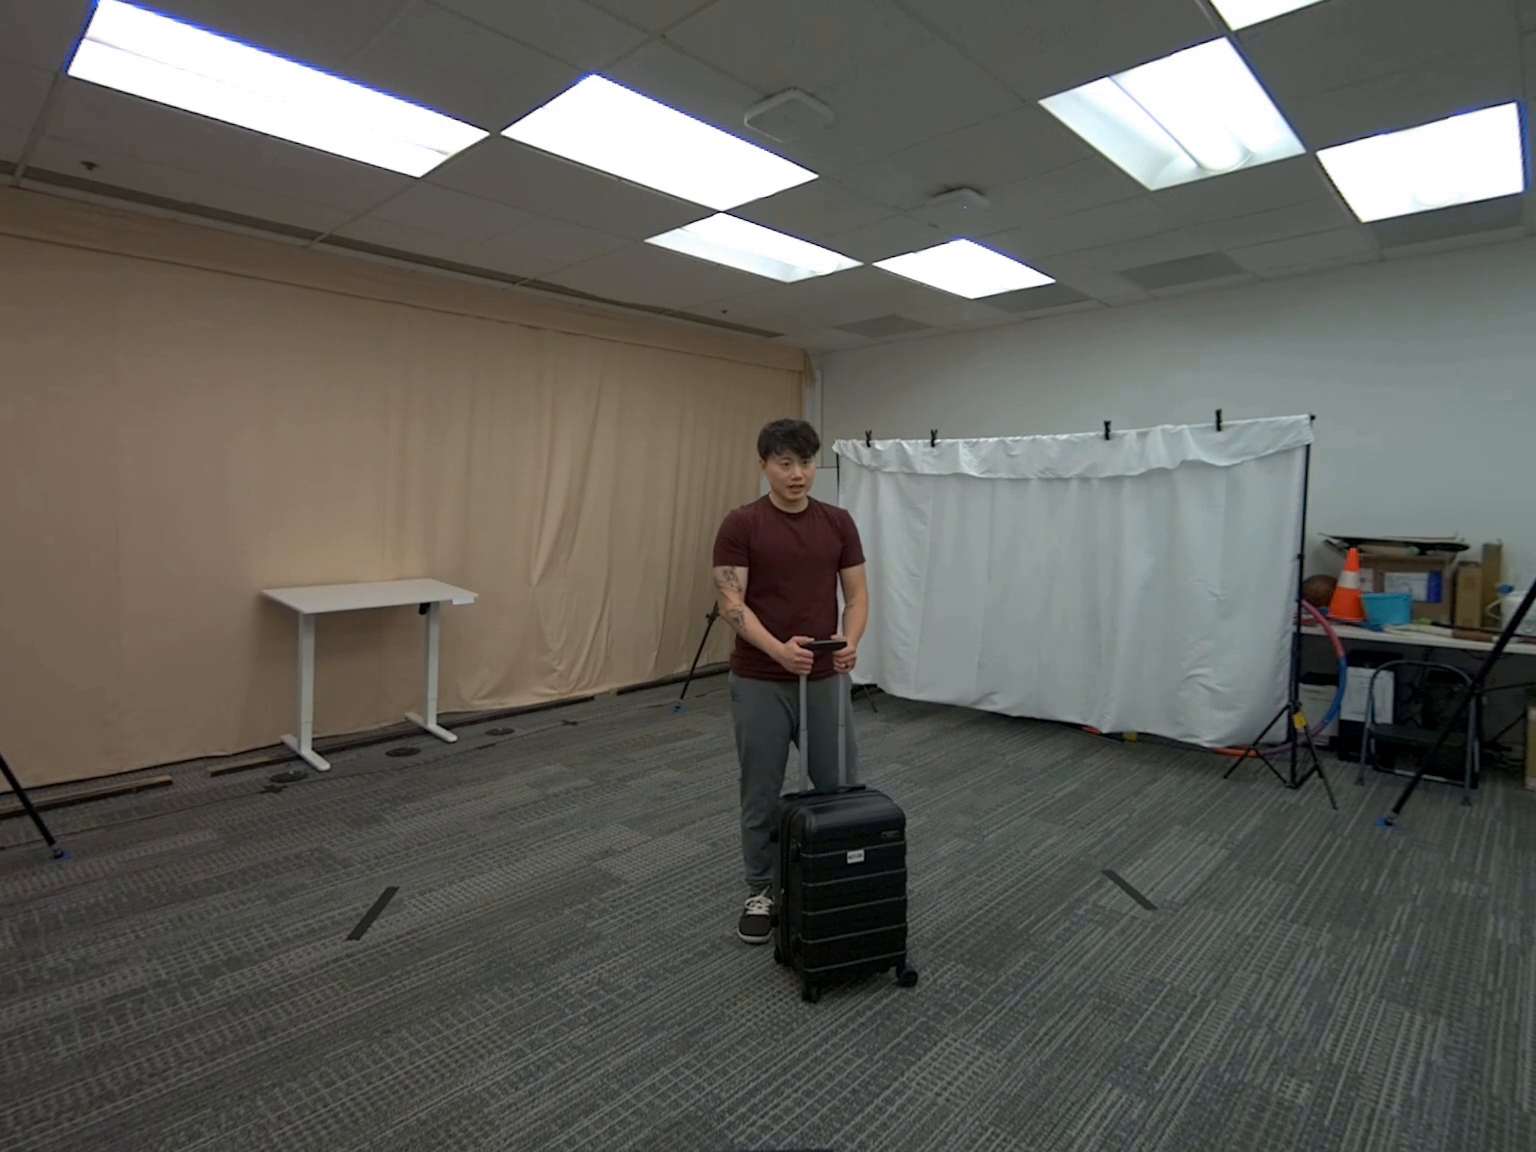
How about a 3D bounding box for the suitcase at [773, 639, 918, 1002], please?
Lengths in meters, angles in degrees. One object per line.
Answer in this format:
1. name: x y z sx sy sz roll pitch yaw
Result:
1. suitcase: 0.230 0.712 2.454 0.377 0.975 0.262 -1 6 -17
